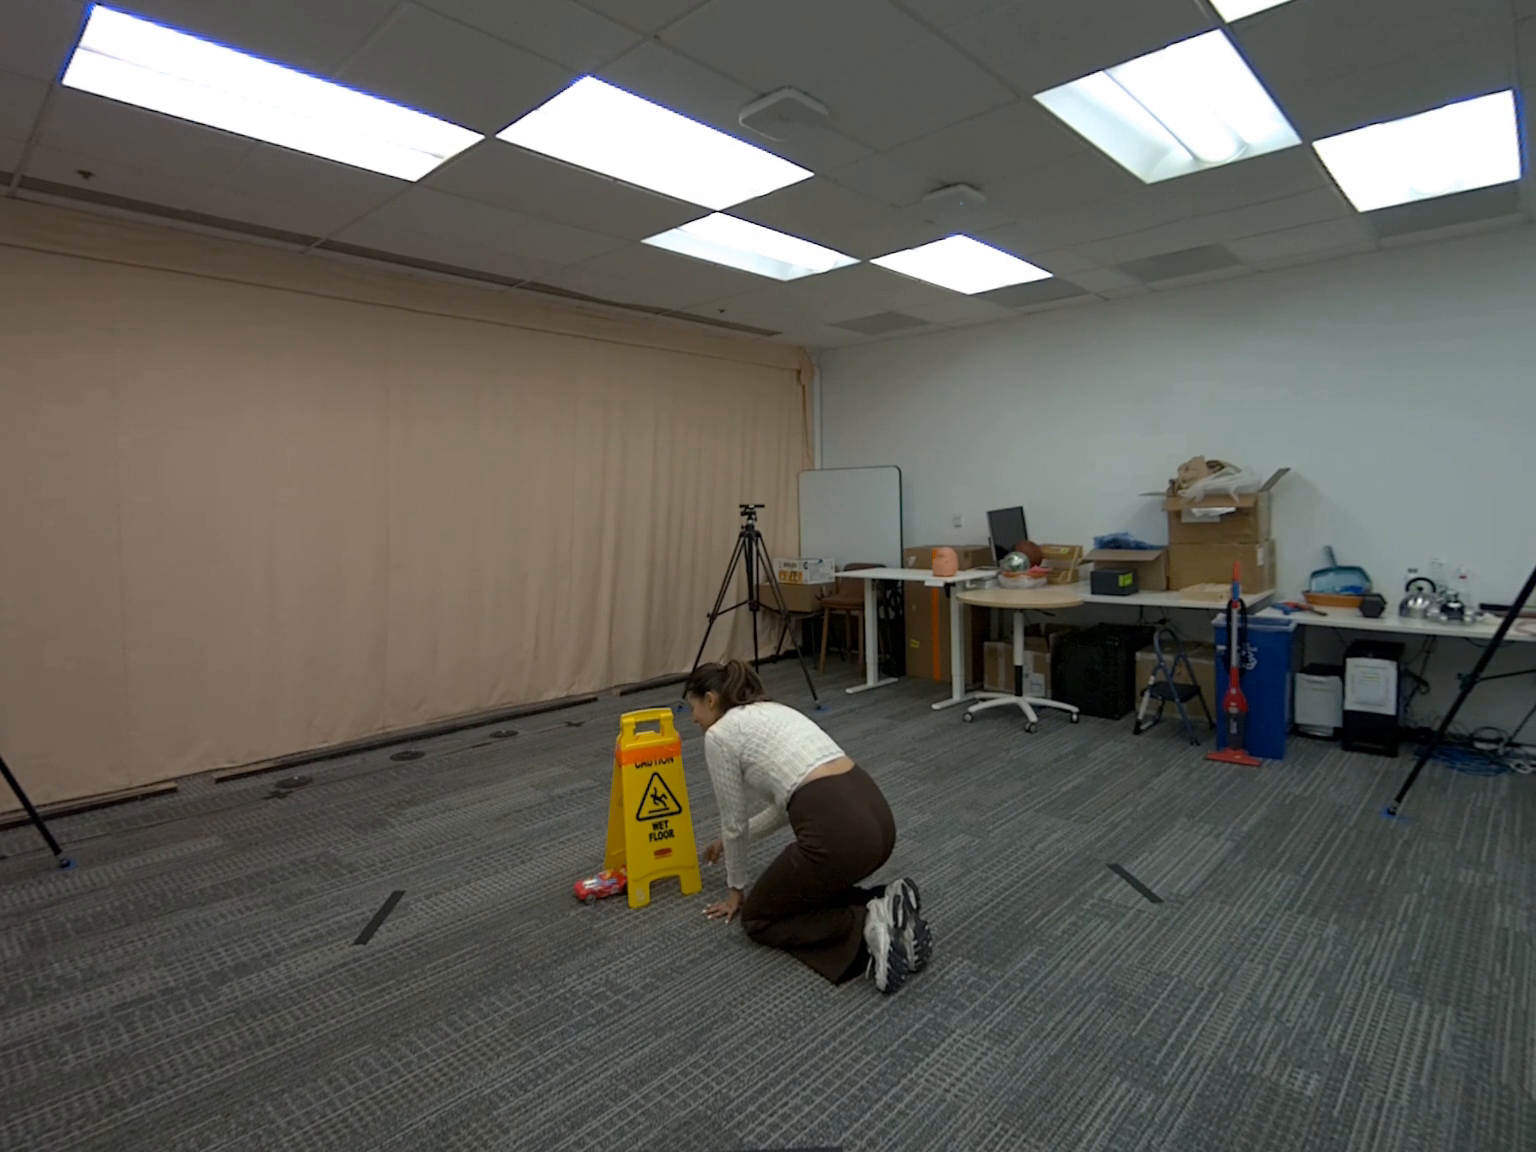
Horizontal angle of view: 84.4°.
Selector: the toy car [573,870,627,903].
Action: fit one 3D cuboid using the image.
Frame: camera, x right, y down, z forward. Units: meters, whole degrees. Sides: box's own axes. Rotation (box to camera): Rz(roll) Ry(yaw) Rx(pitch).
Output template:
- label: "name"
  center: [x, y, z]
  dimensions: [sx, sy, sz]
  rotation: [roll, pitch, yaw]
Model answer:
- label: "toy car"
  center: [-0.536, 1.116, 3.068]
  dimensions: [0.250, 0.083, 0.133]
  rotation: [-12, 8, -22]
